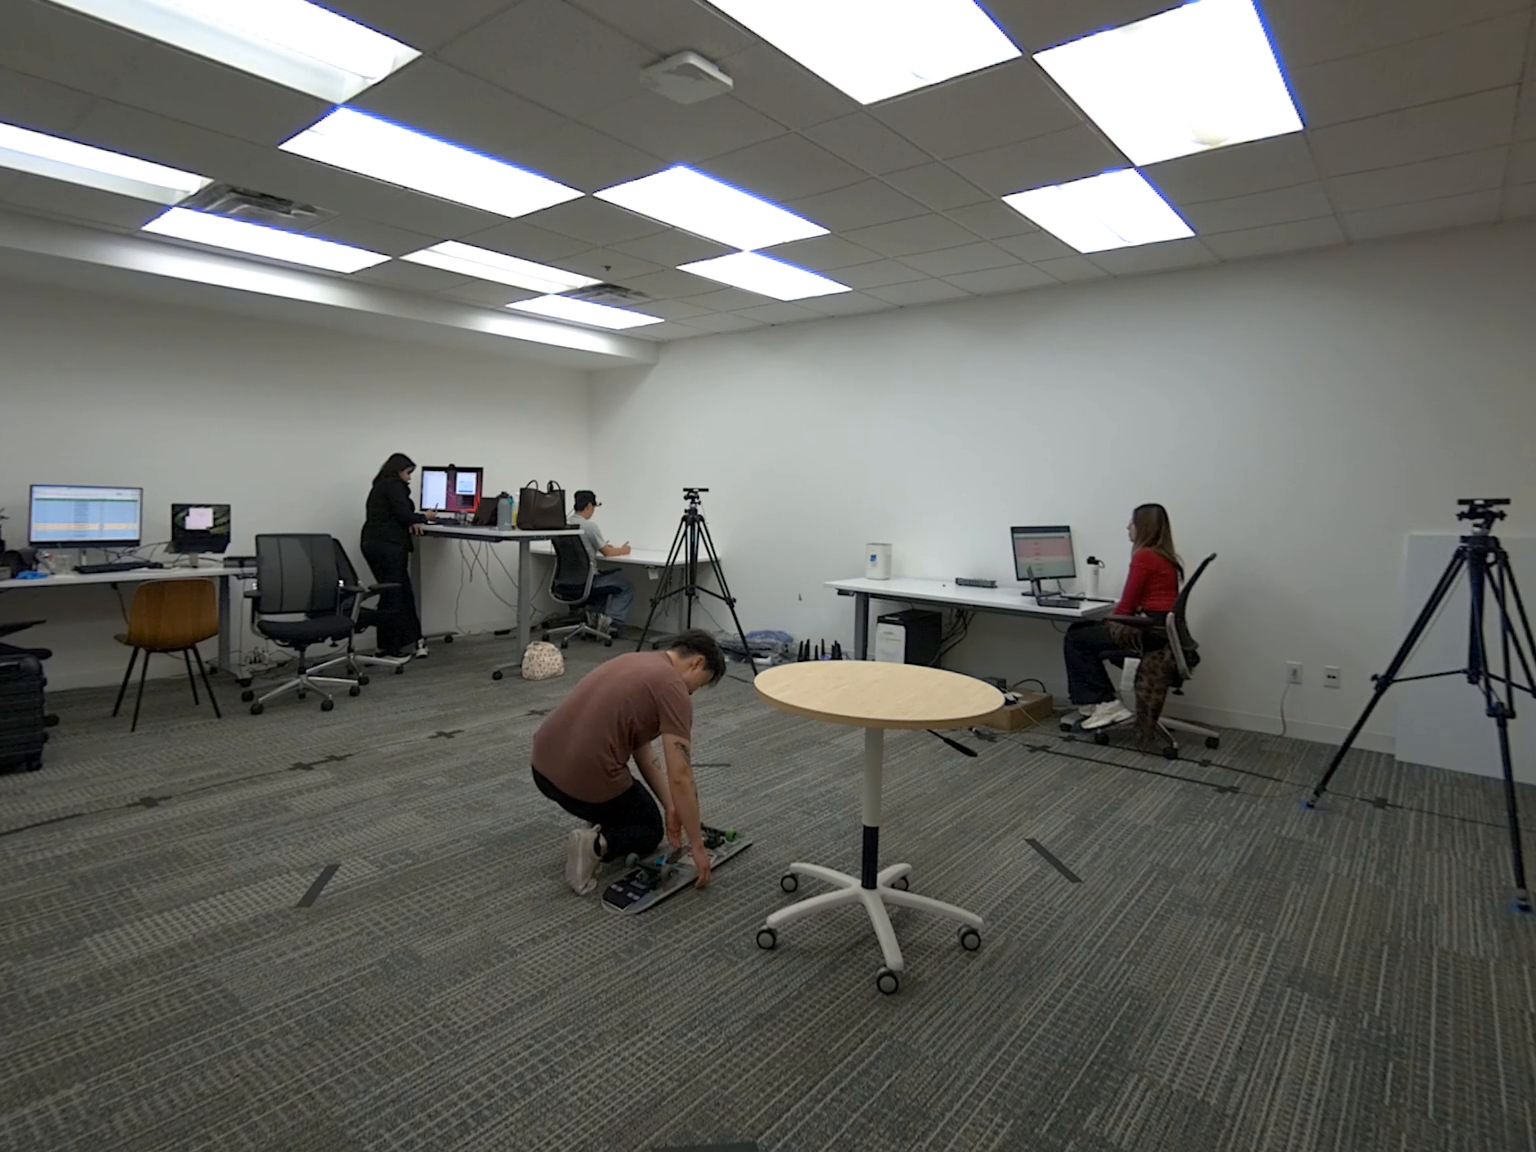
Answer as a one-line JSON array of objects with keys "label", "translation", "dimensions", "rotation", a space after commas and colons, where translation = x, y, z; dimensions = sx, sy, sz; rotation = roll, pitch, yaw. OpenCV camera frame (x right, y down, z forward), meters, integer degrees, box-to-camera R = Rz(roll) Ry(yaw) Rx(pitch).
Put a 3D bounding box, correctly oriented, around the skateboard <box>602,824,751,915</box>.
[{"label": "skateboard", "translation": [-0.315, 1.020, 3.090], "dimensions": [0.199, 0.110, 0.765], "rotation": [5, 6, 30]}]
